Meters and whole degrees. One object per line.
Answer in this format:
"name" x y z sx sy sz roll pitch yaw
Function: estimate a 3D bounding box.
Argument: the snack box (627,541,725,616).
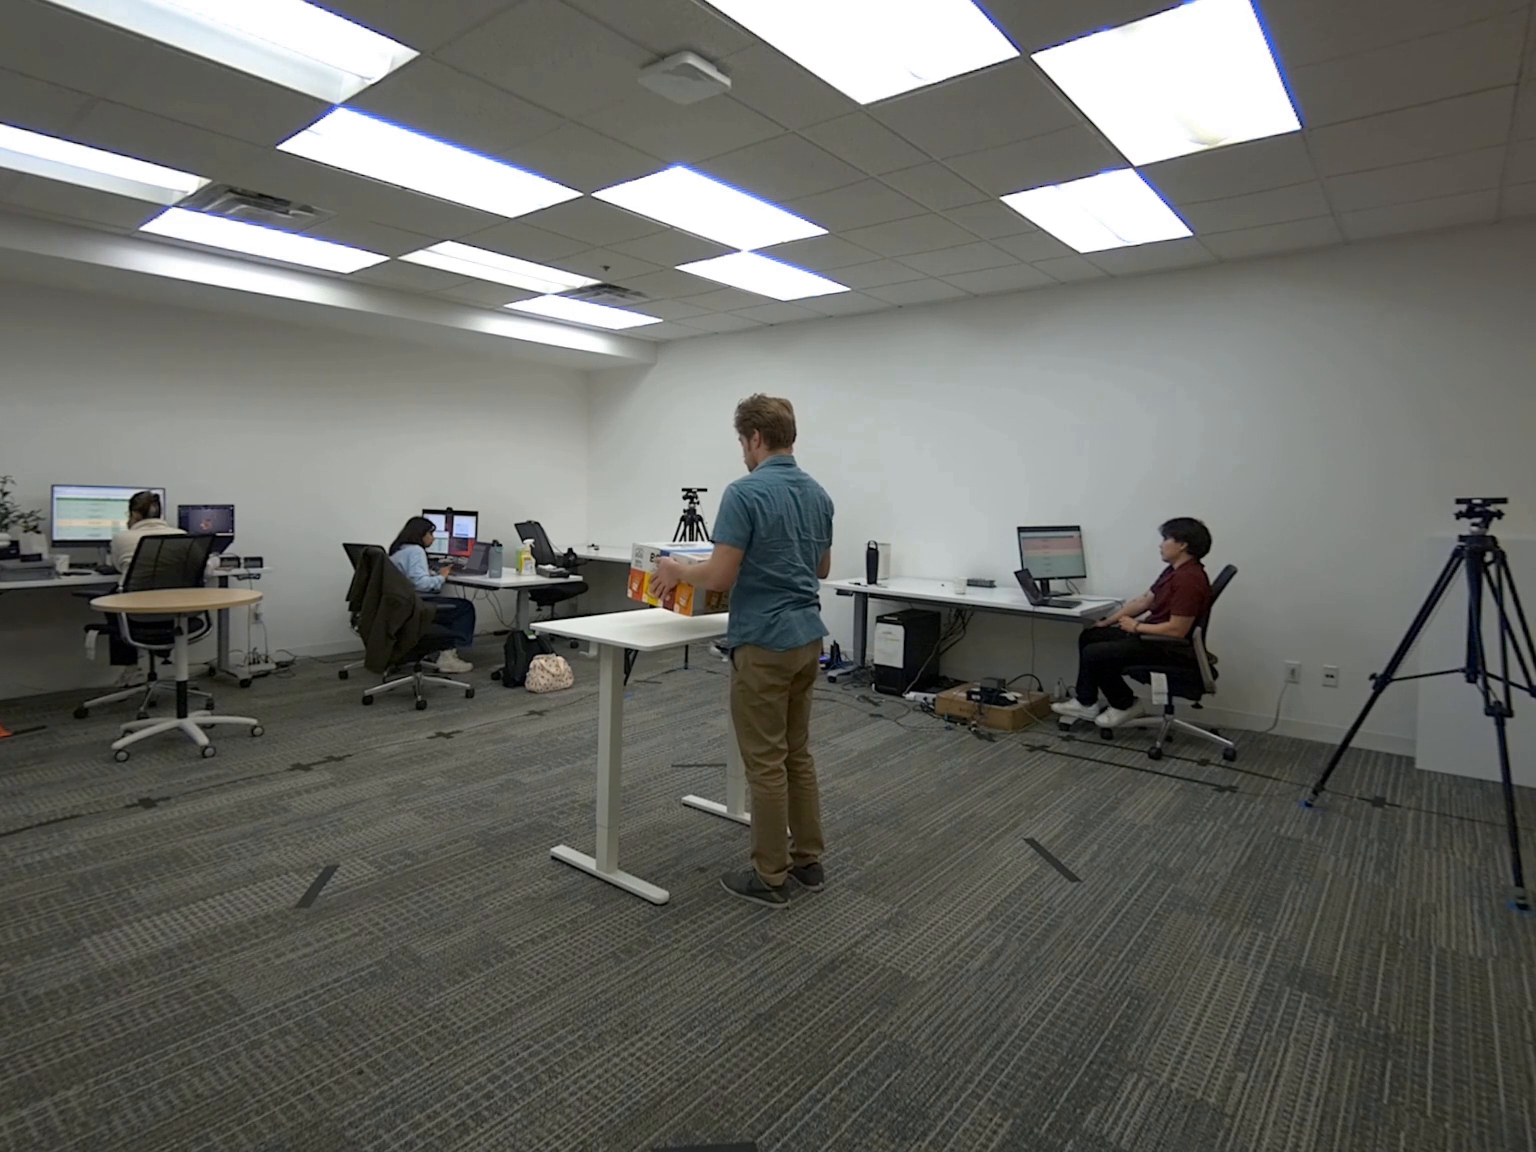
"snack box" -0.267 0.001 3.167 0.353 0.204 0.393 15 12 40
